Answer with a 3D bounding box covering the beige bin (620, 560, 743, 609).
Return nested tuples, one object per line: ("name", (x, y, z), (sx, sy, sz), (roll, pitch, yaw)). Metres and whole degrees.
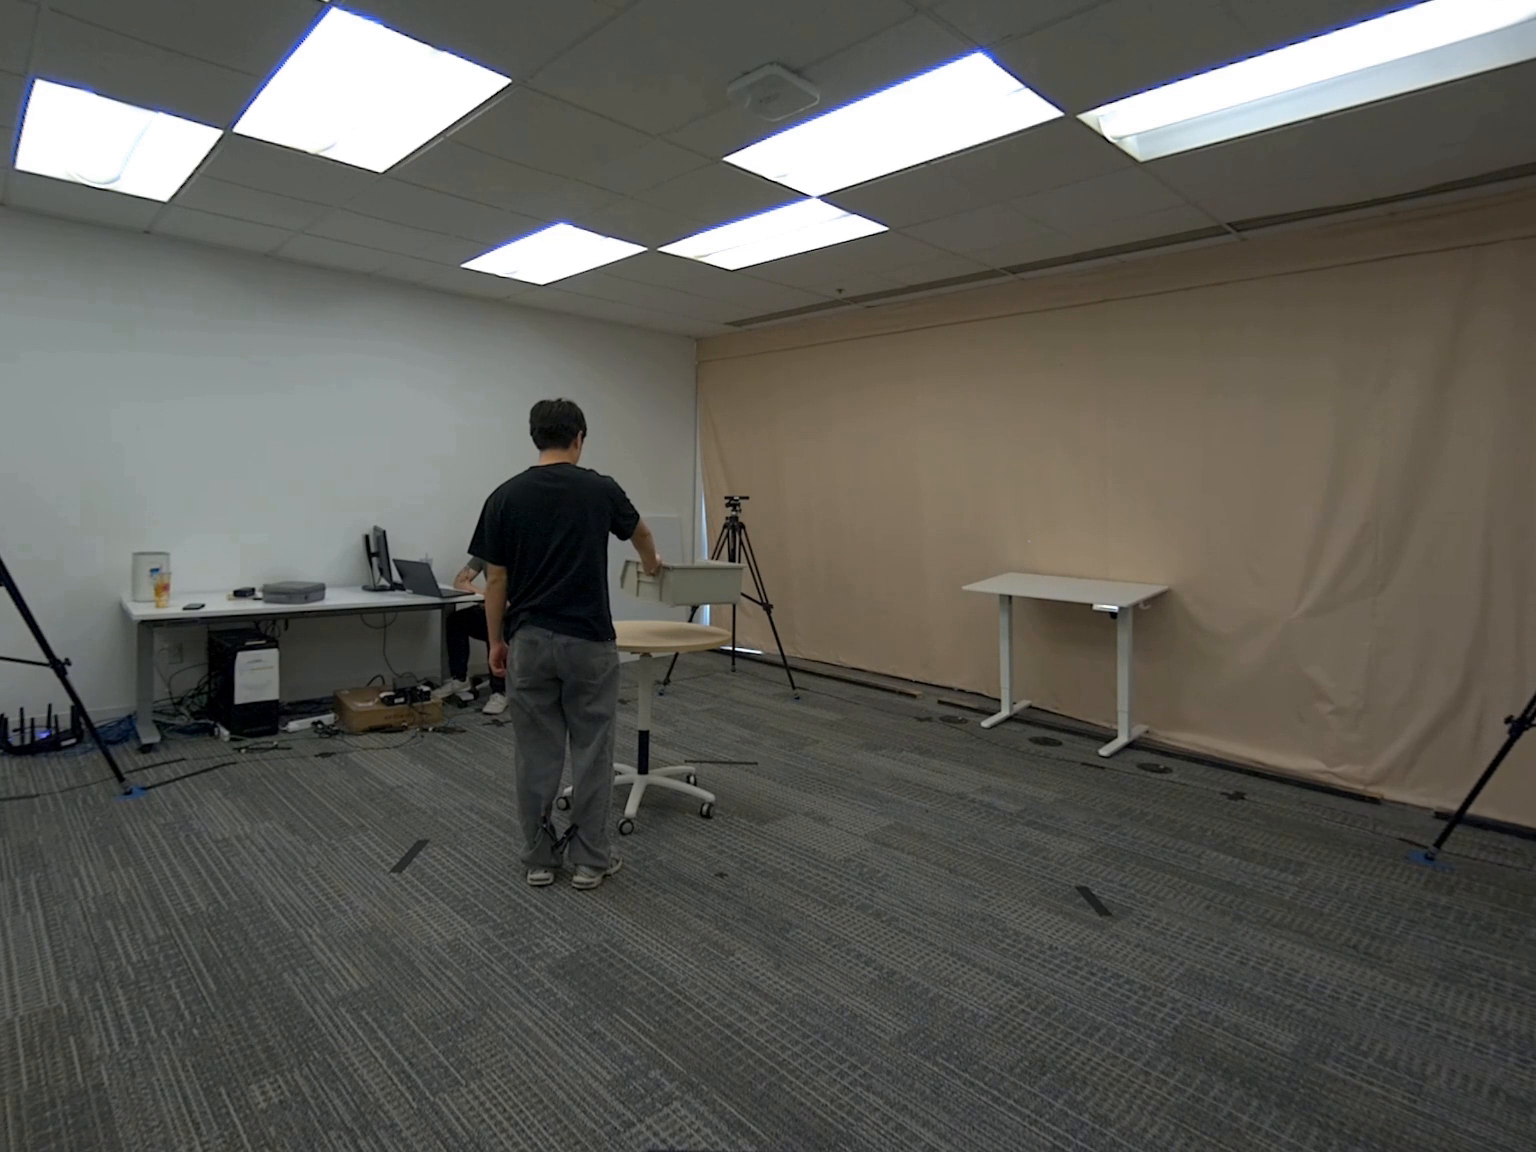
("beige bin", (-0.383, 0.023, 3.717), (0.412, 0.188, 0.387), (1, 6, -42))
